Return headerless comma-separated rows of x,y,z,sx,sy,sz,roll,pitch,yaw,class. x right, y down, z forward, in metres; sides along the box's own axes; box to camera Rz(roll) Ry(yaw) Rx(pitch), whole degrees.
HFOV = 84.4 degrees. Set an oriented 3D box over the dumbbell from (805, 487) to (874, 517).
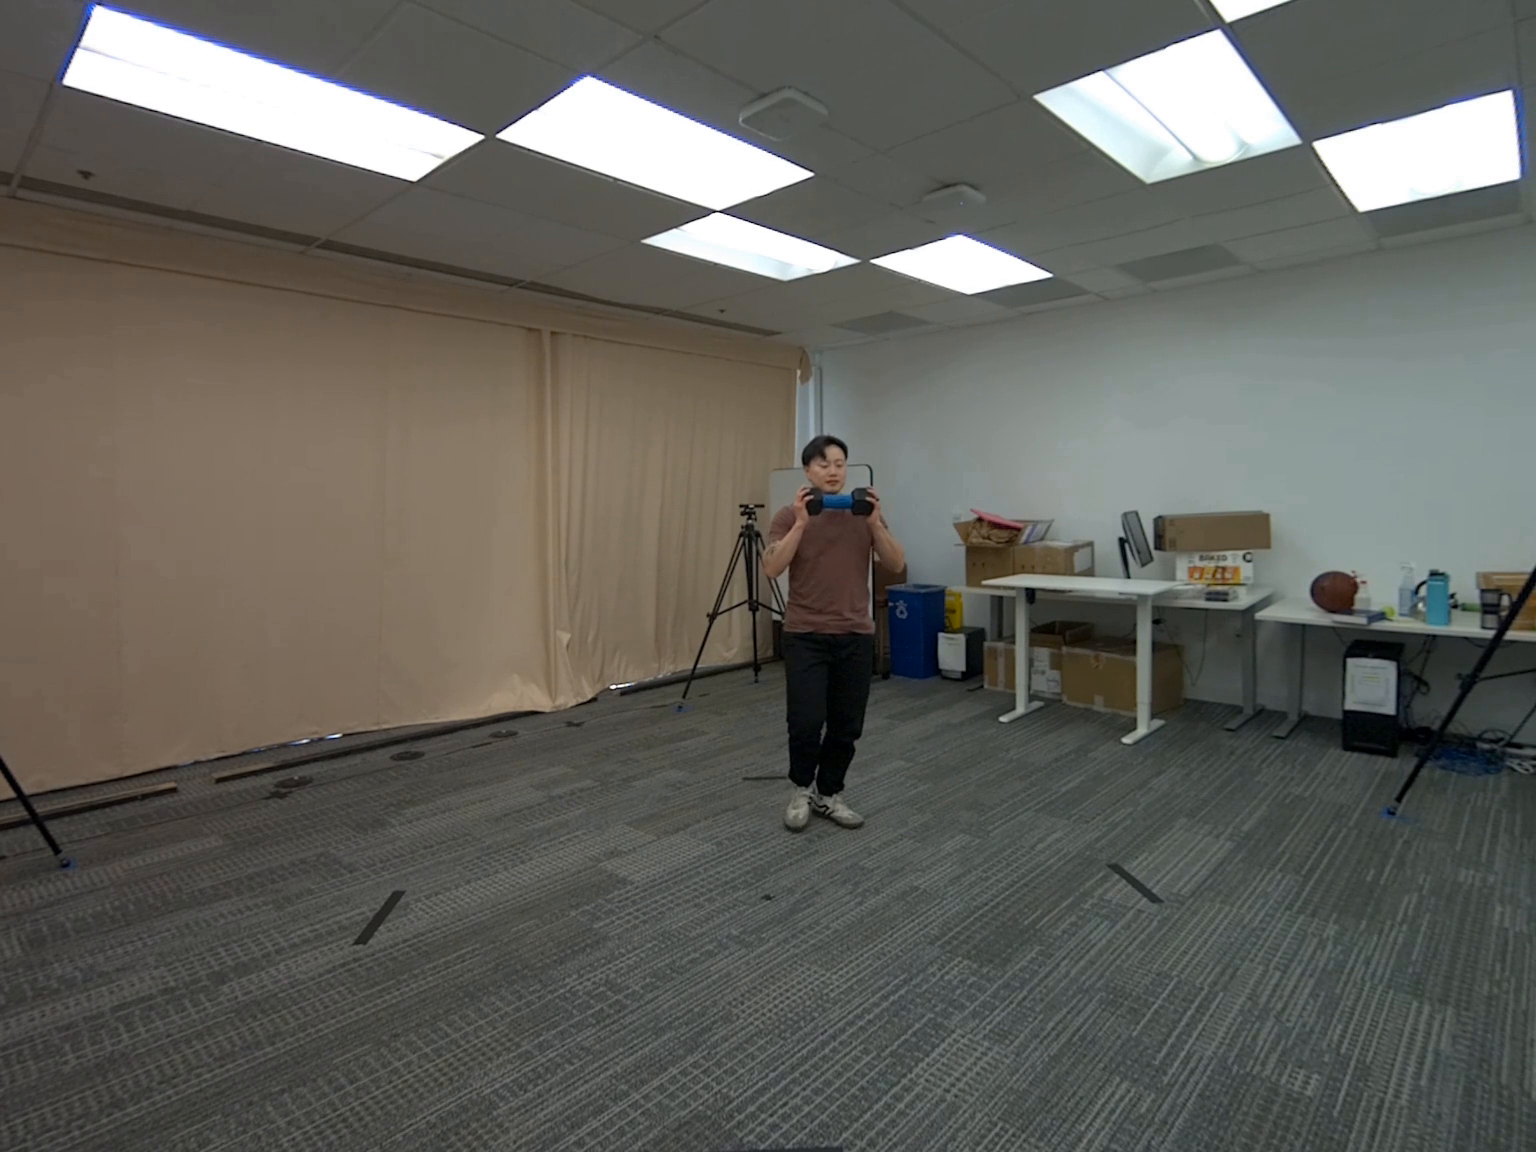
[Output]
0.271,-0.302,3.477,0.293,0.109,0.122,0,-9,-3,dumbbell
